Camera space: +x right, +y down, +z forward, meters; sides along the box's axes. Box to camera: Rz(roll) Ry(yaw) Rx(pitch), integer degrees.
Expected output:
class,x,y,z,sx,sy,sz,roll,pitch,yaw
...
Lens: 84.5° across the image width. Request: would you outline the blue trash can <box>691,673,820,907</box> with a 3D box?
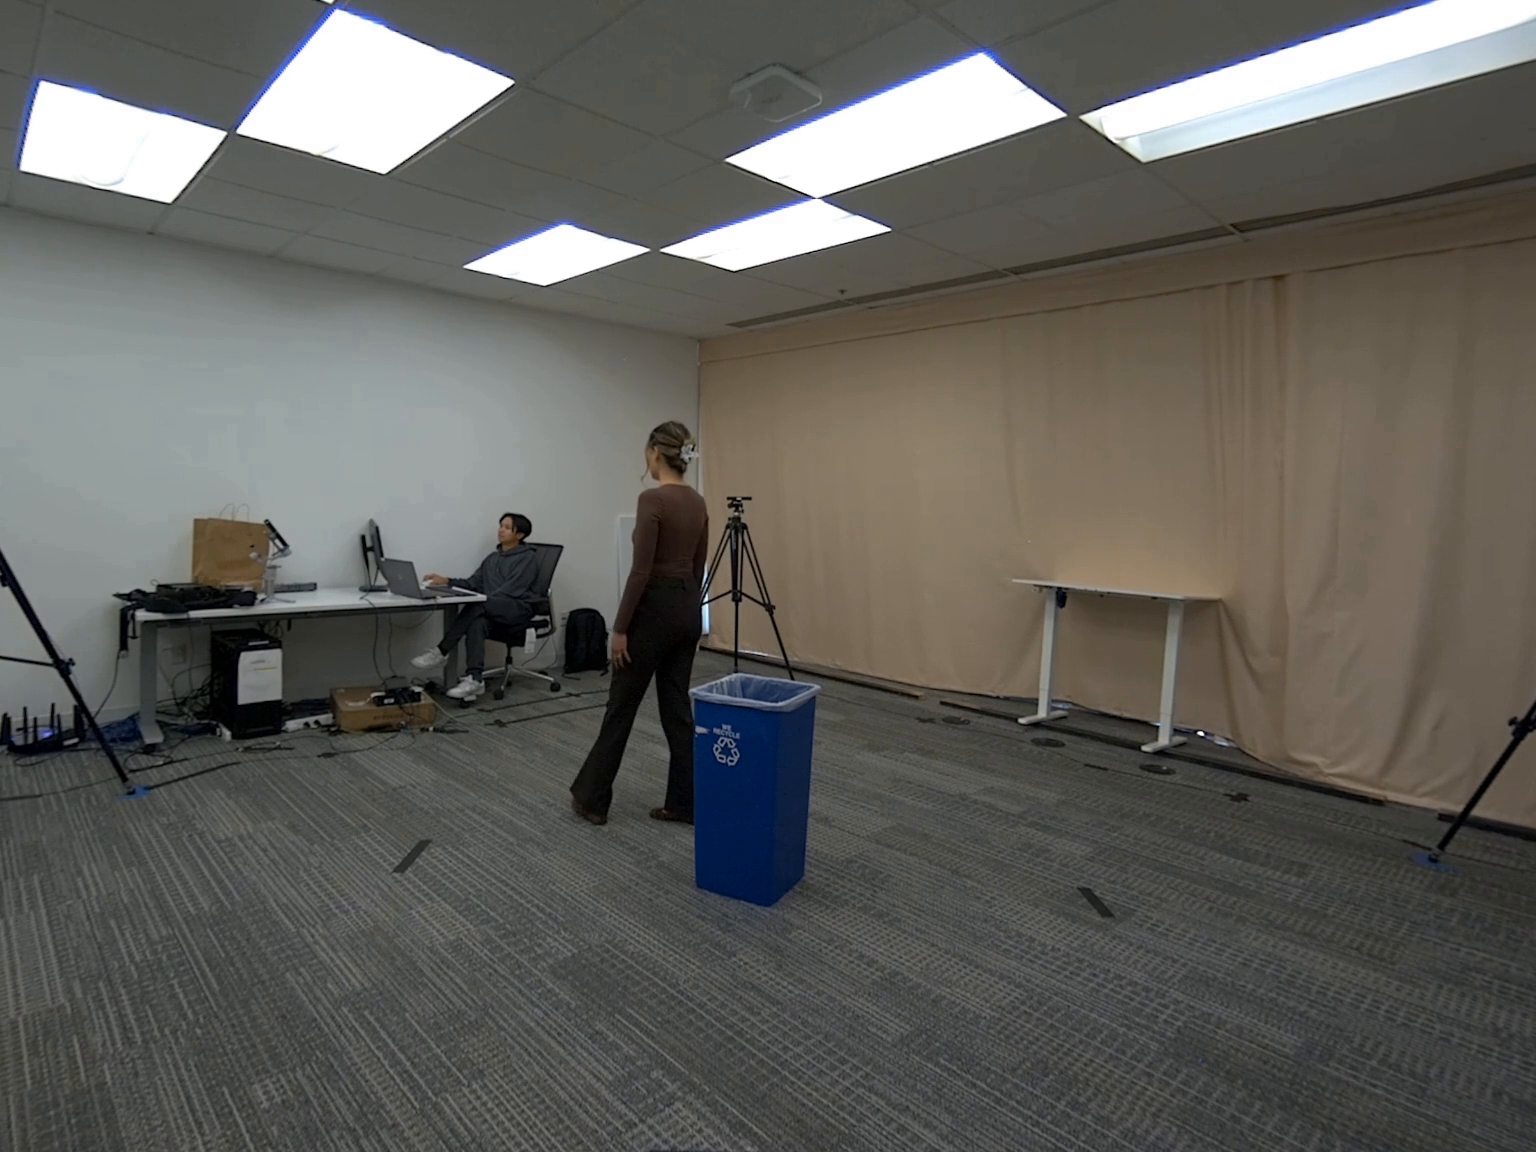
class,x,y,z,sx,sy,sz,roll,pitch,yaw
blue trash can,-0.053,0.754,3.043,0.382,0.712,0.371,3,4,28
